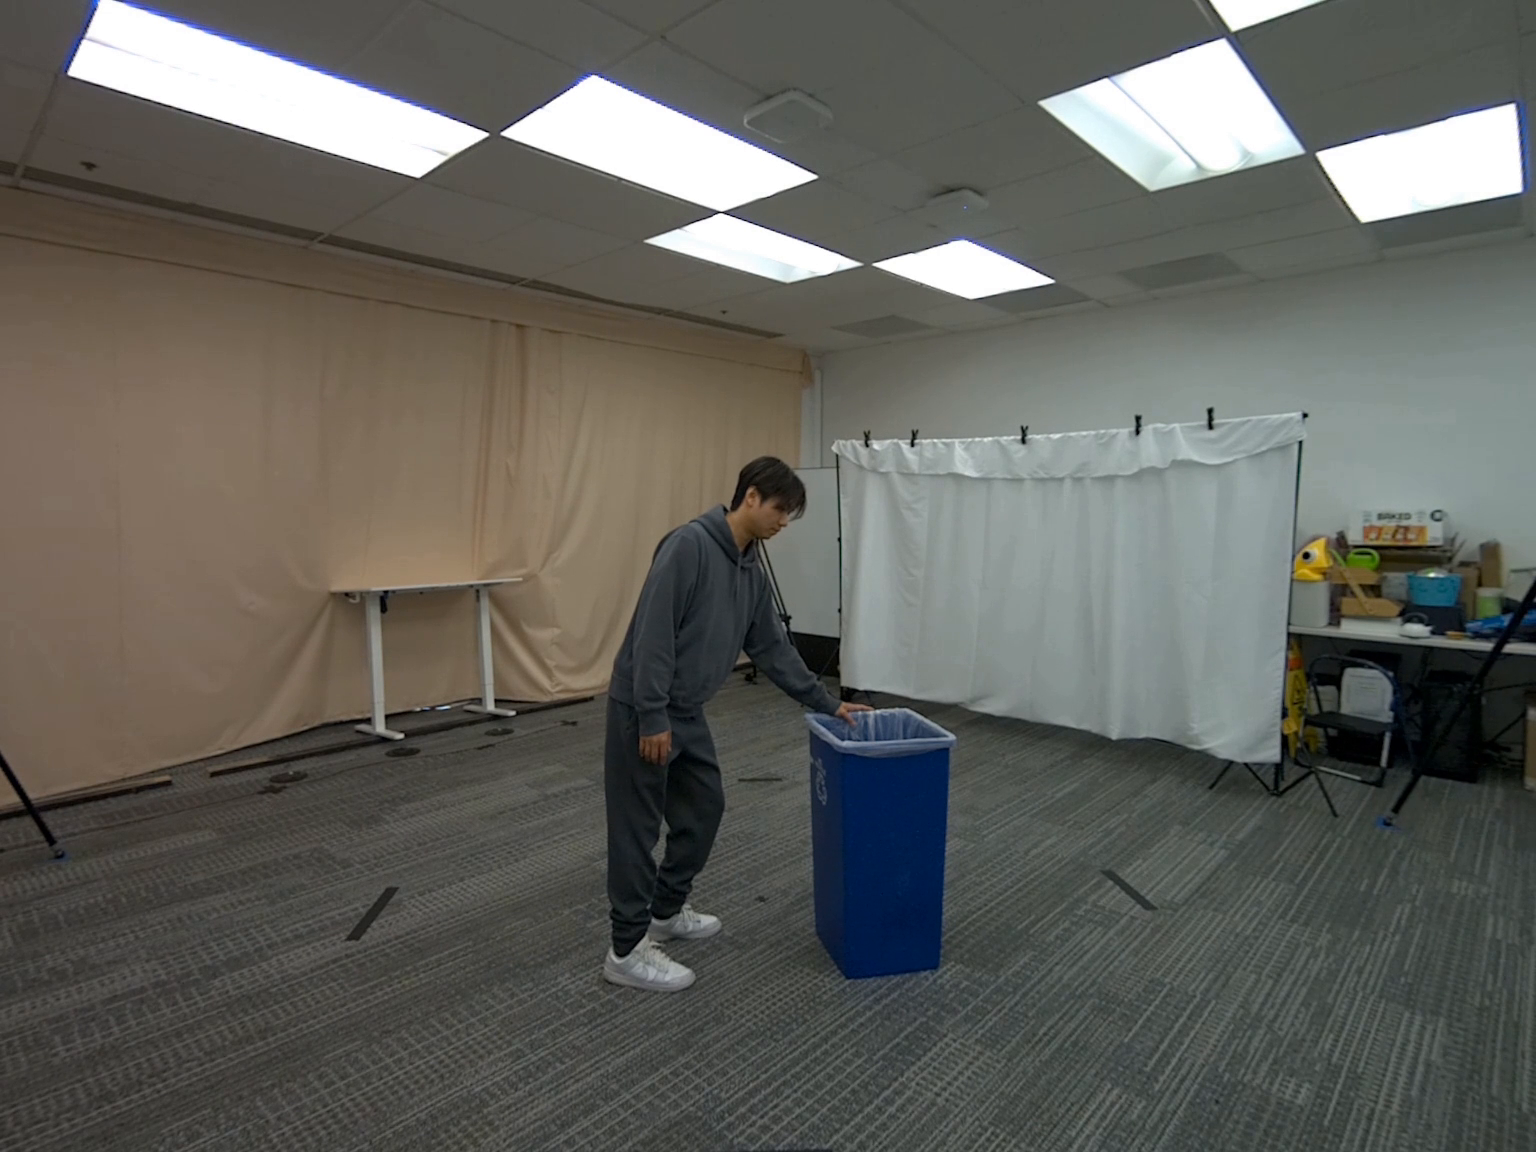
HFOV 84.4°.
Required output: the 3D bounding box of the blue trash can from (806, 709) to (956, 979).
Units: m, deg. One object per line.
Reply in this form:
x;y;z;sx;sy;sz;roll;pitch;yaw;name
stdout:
0.348;0.823;2.618;0.373;0.712;0.380;0;3;-13;blue trash can
